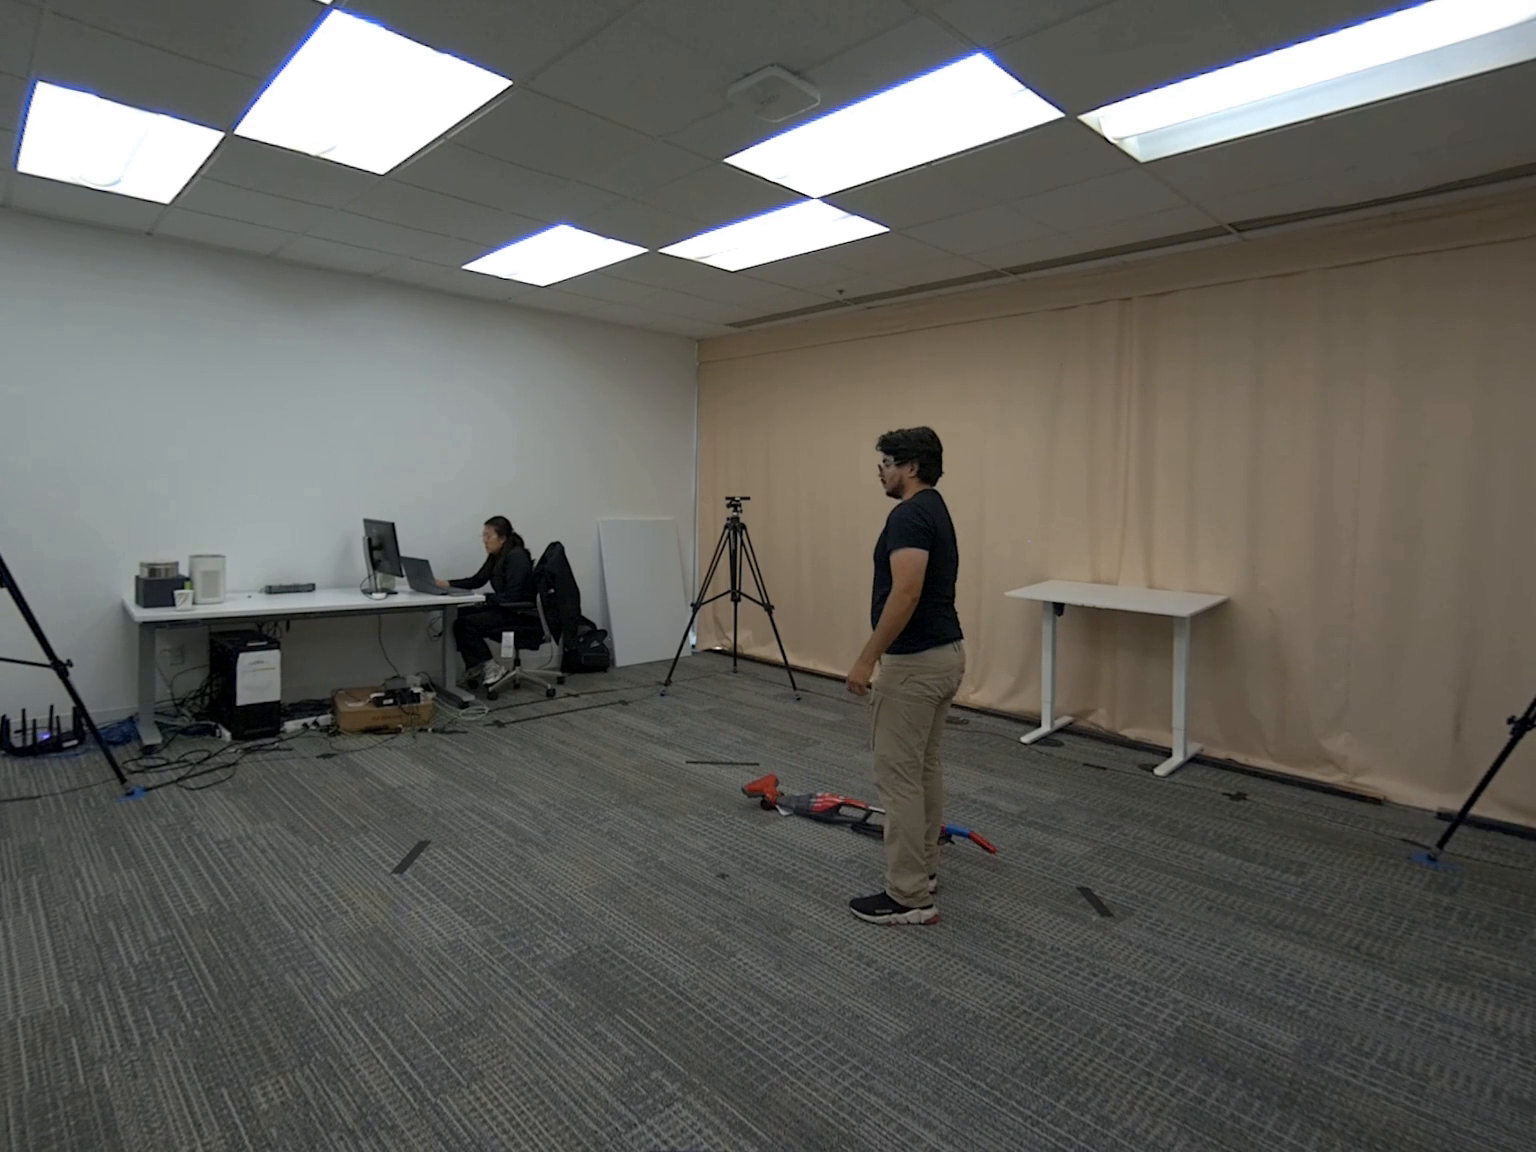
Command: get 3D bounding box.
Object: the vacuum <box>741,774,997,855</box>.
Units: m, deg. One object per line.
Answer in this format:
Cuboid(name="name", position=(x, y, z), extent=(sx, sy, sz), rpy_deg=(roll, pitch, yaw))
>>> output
Cuboid(name="vacuum", position=(0.411, 1.026, 3.542), extent=(1.074, 0.143, 0.247), rpy_deg=(4, 7, 35))
